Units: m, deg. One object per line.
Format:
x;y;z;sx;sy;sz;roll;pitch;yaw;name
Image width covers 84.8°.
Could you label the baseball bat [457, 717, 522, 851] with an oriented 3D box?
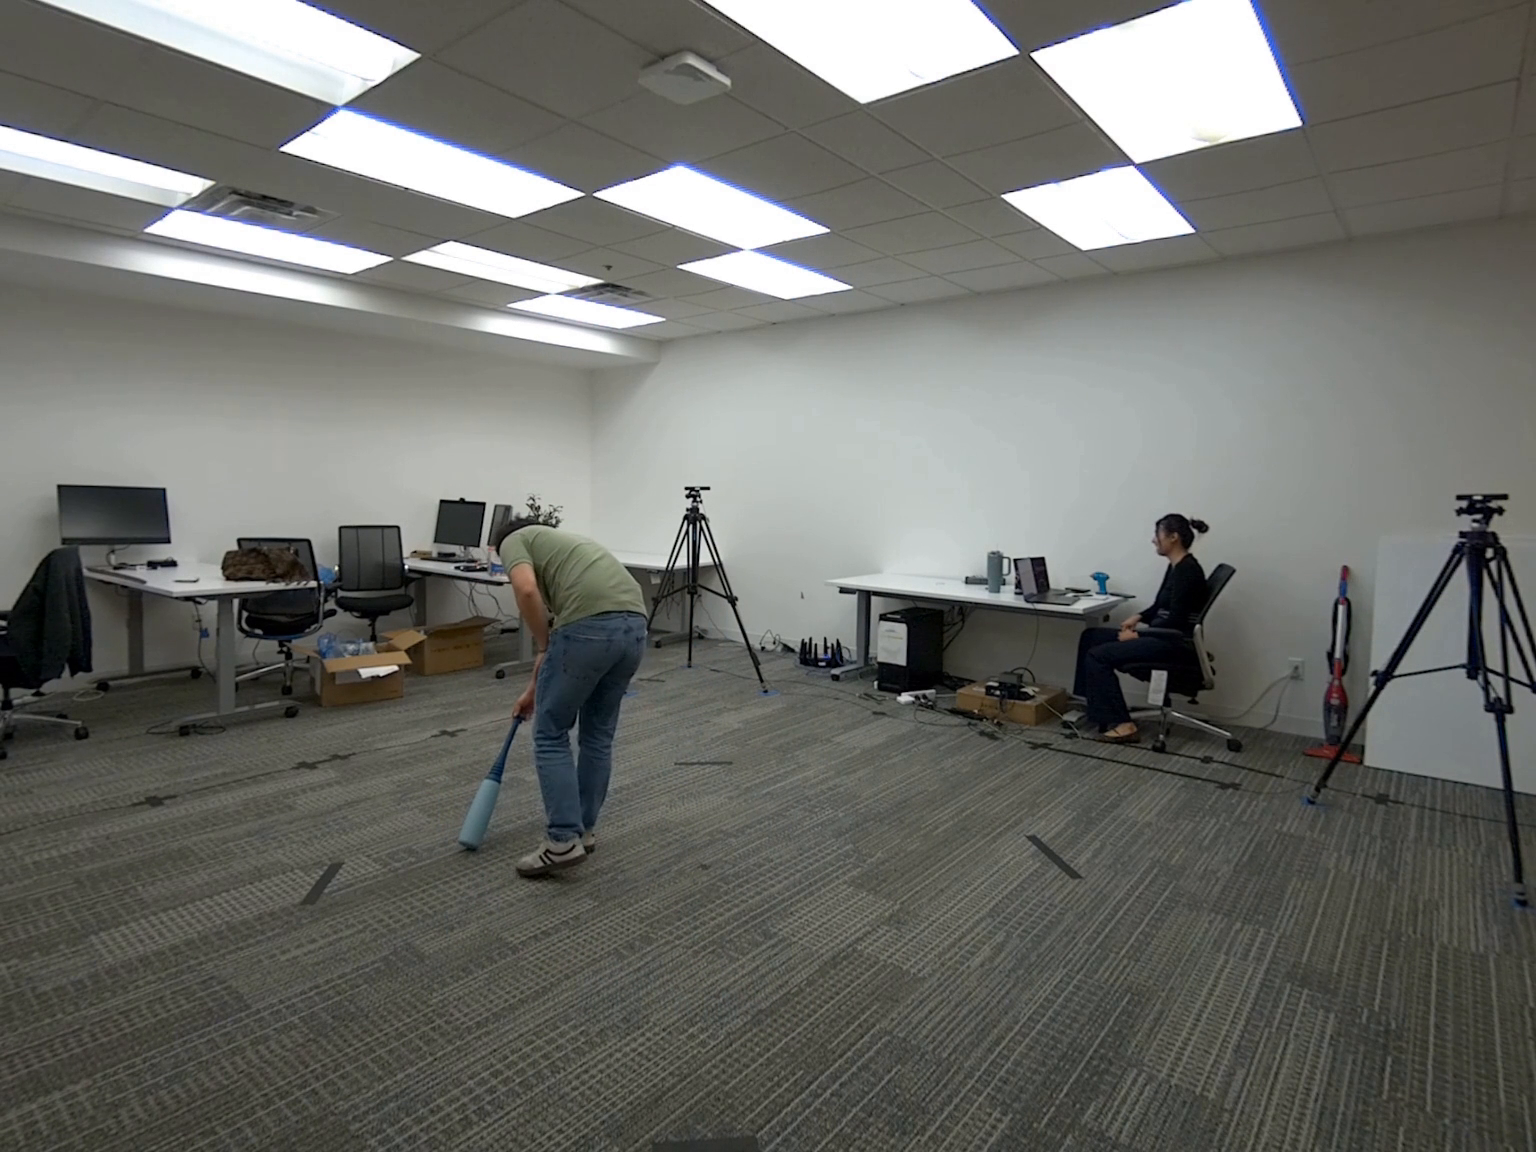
-1.095;0.798;3.365;0.090;0.553;0.087;10;-32;5;baseball bat
